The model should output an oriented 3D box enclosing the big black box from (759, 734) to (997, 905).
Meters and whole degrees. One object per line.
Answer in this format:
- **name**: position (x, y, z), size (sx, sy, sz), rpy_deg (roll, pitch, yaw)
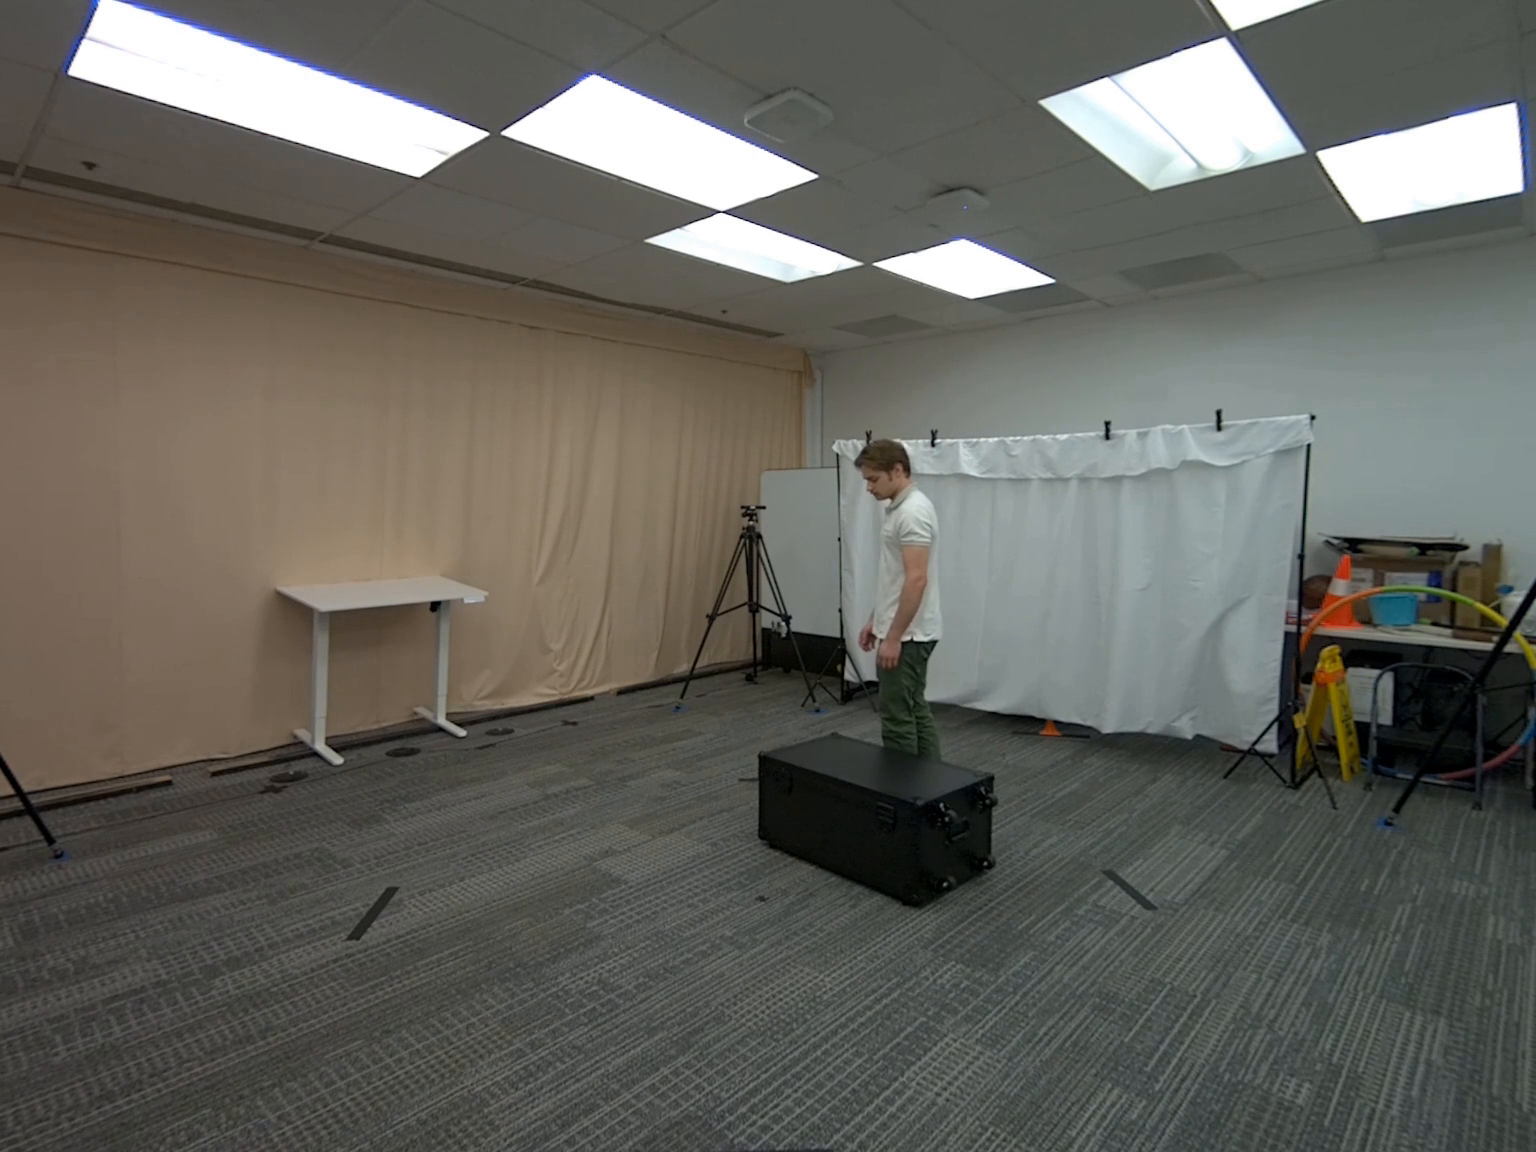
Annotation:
- **big black box**: position (0.430, 0.926, 3.292), size (0.505, 0.395, 0.890), rpy_deg (-4, 5, -45)
